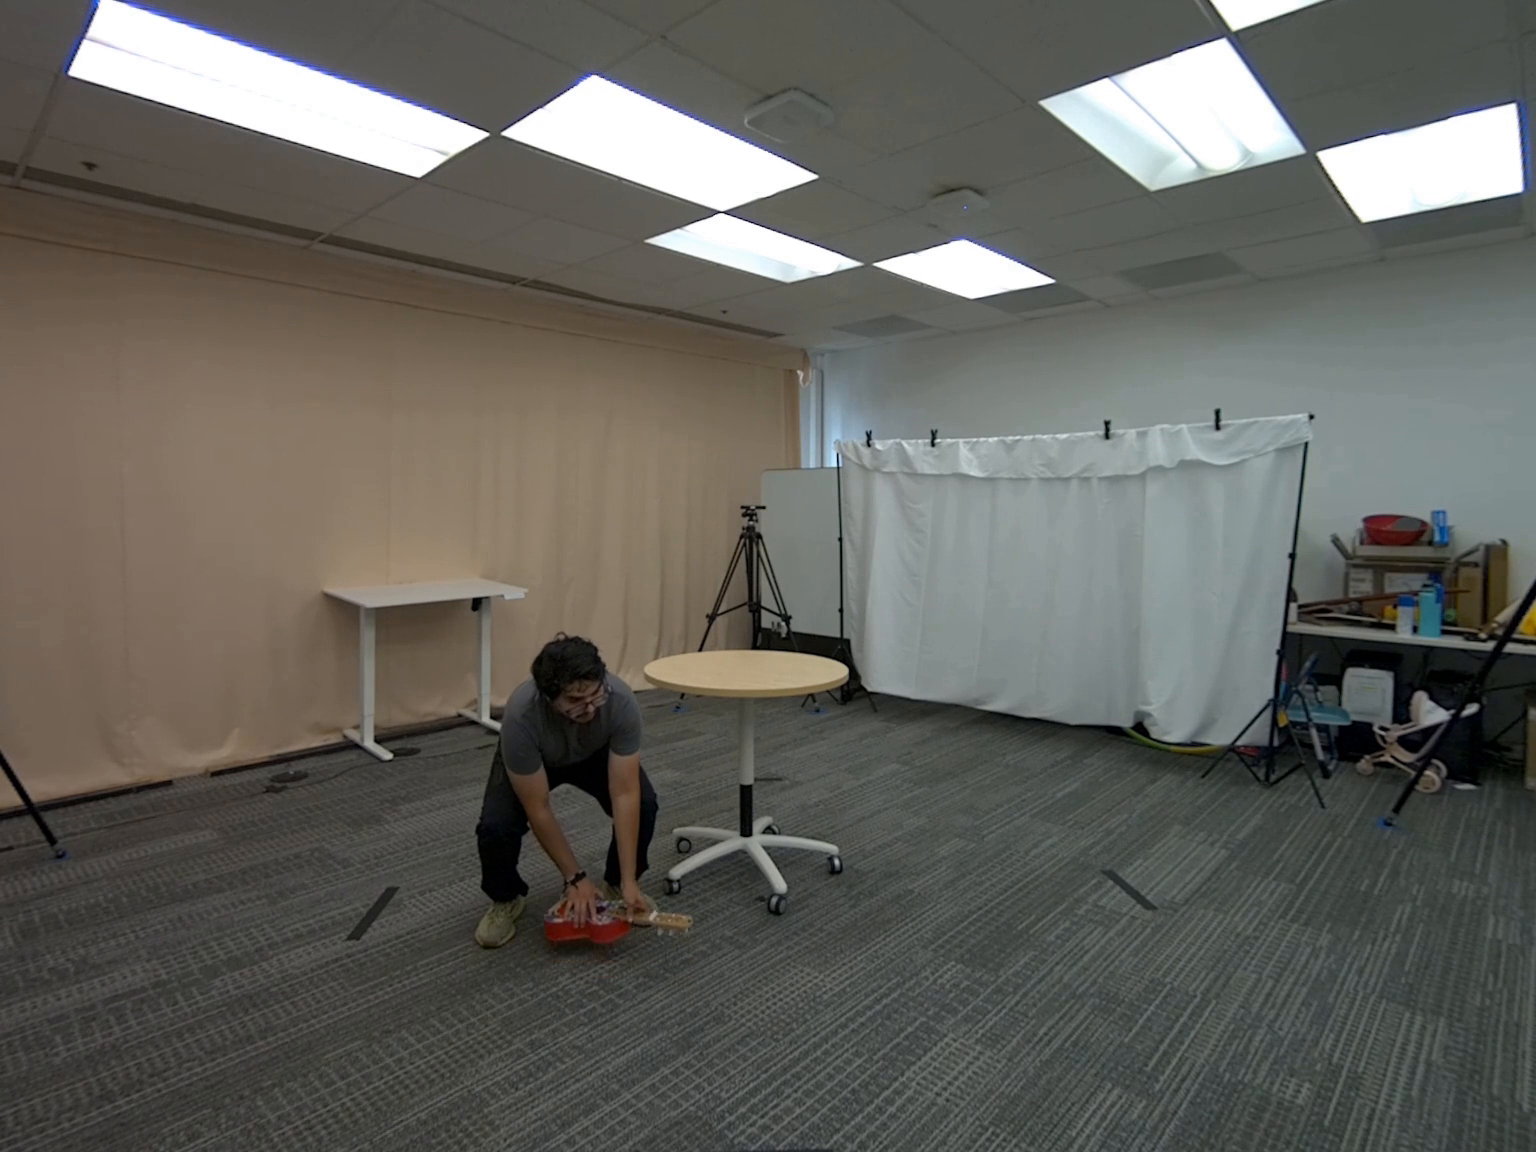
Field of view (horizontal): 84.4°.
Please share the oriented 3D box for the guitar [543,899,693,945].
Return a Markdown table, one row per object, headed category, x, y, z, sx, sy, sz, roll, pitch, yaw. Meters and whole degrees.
| category | x | y | z | sx | sy | sz | roll | pitch | yaw |
| --- | --- | --- | --- | --- | --- | --- | --- | --- | --- |
| guitar | -0.481 | 1.072 | 2.551 | 0.512 | 0.070 | 0.188 | -2 | 7 | 32 |
